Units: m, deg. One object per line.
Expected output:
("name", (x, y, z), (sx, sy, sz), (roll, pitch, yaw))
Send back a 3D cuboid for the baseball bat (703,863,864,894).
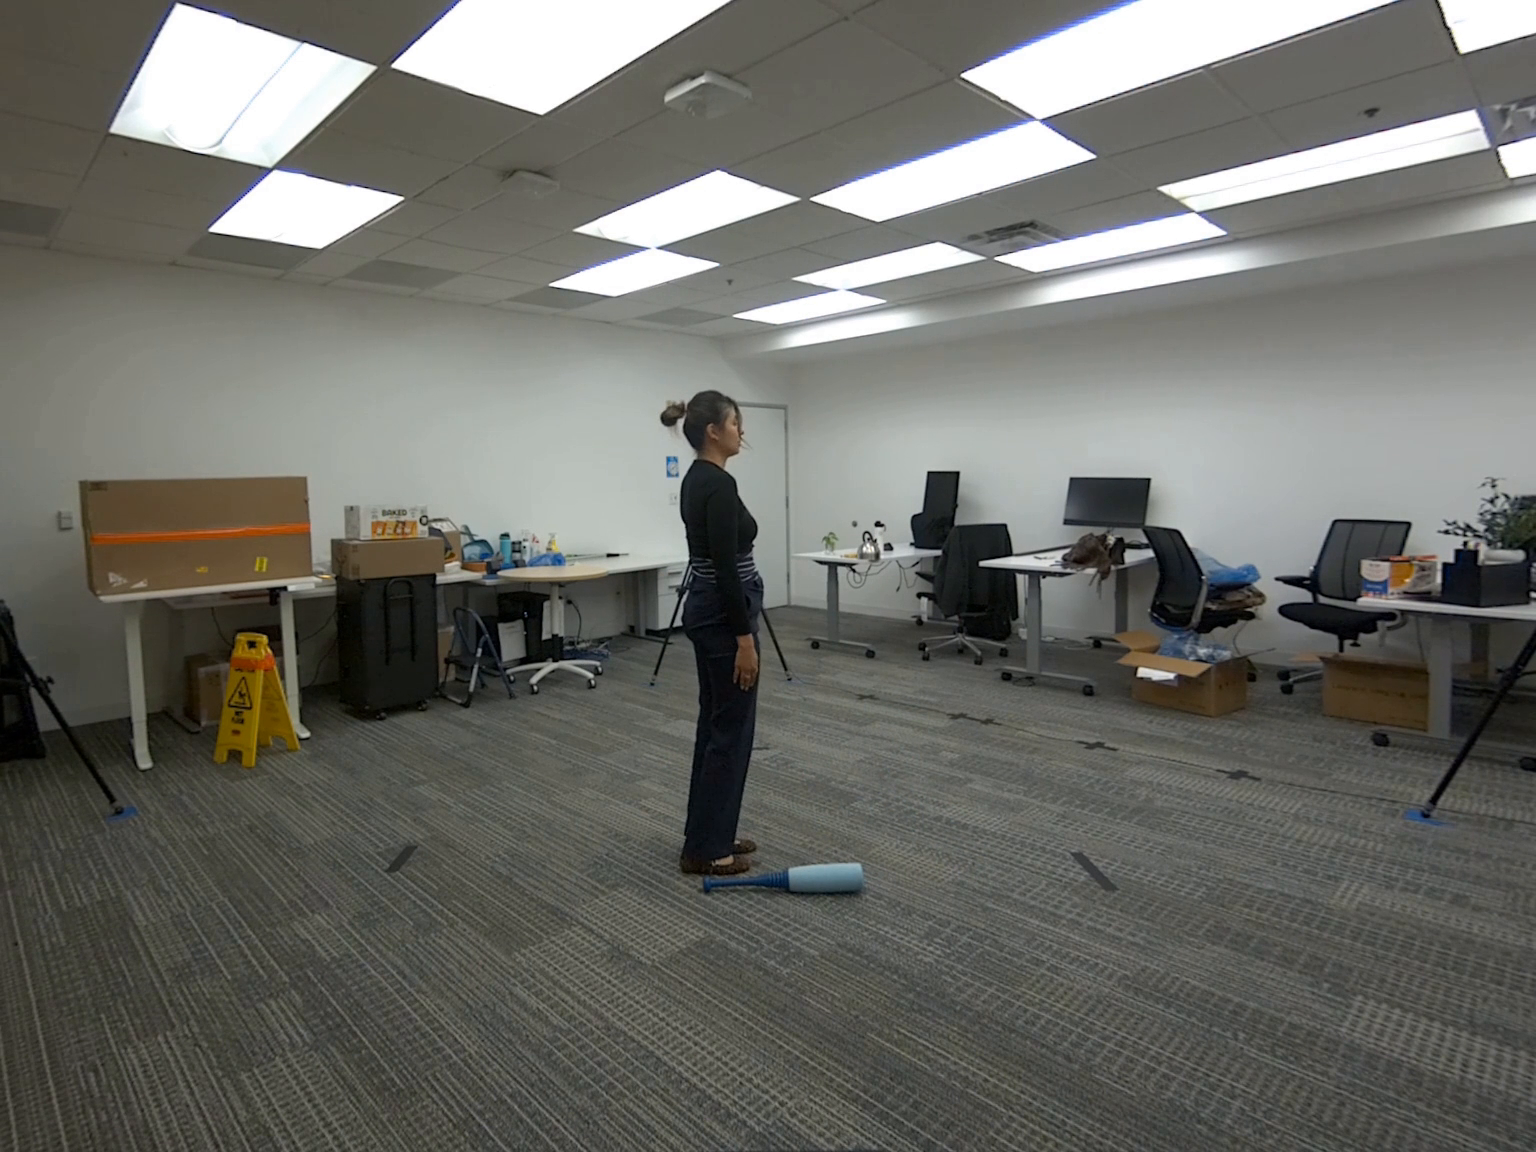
("baseball bat", (0.058, 1.036, 2.883), (0.544, 0.089, 0.089), (-5, 5, 1))
